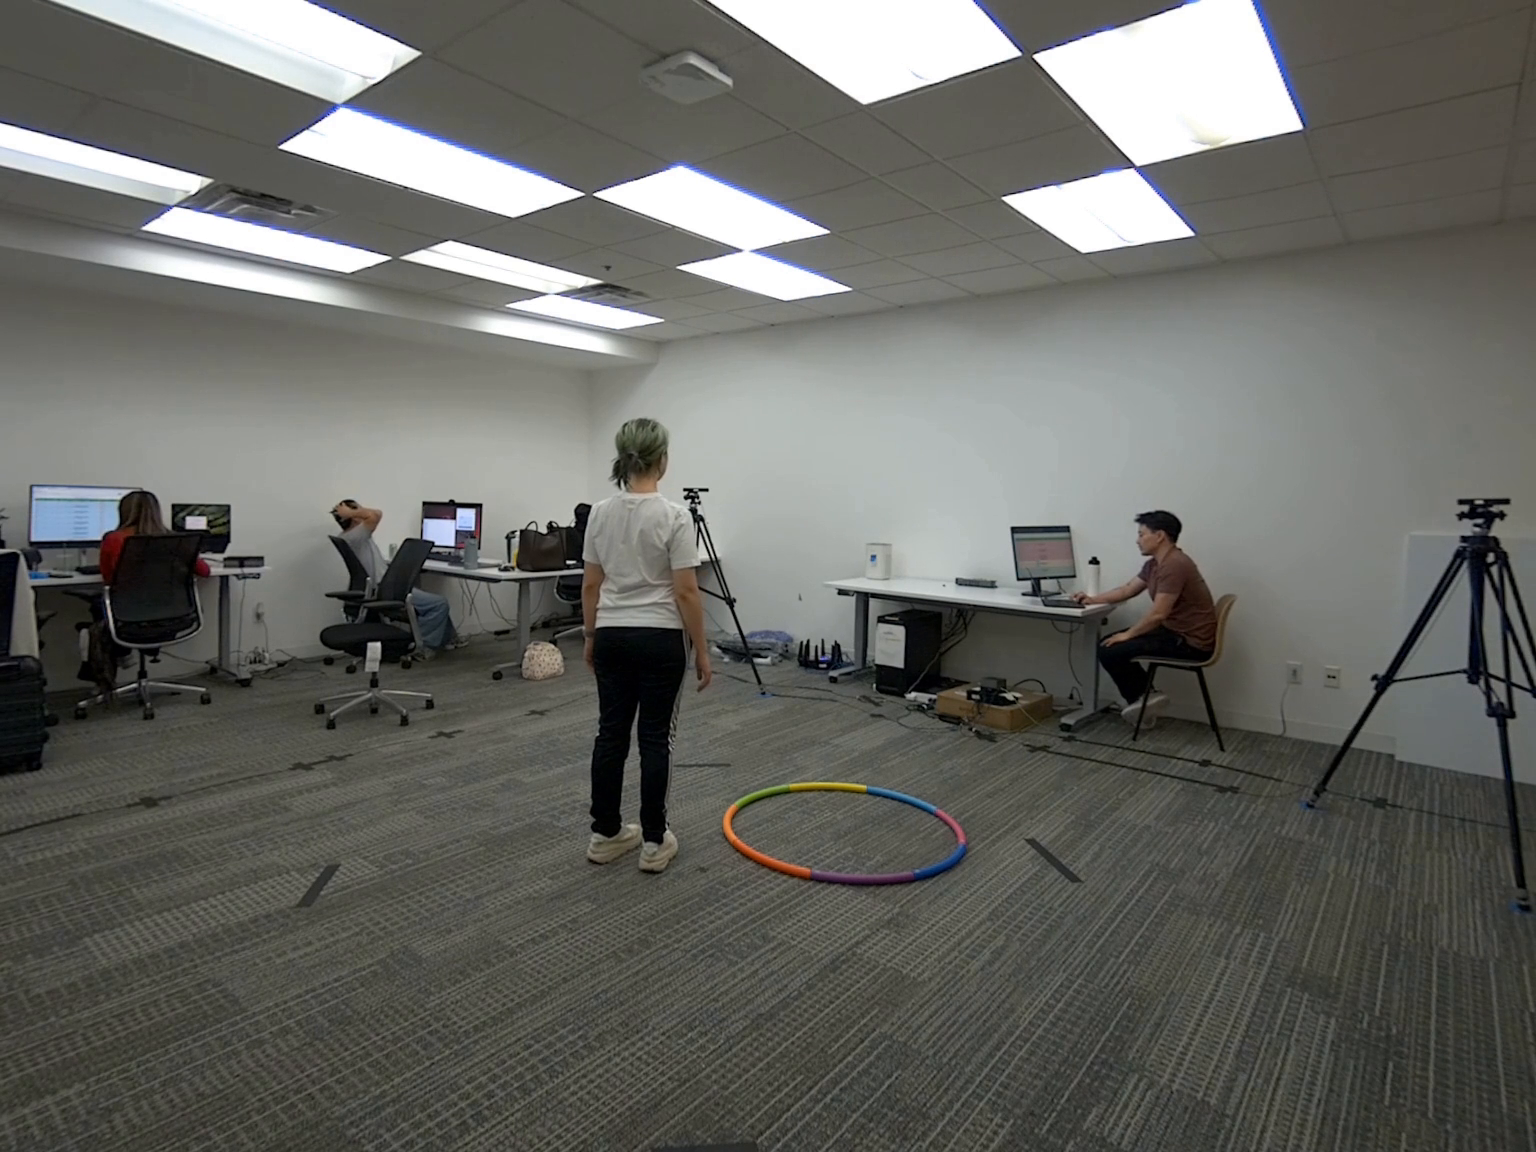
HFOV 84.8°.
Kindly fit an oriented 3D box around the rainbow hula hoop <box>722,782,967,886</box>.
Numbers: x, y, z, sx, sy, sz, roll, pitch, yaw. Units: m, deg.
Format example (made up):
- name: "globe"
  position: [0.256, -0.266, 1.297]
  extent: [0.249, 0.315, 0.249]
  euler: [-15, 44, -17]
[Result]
- name: "rainbow hula hoop"
  position: [0.299, 1.018, 3.492]
  extent: [0.984, 0.051, 0.991]
  euler: [0, 6, -2]
